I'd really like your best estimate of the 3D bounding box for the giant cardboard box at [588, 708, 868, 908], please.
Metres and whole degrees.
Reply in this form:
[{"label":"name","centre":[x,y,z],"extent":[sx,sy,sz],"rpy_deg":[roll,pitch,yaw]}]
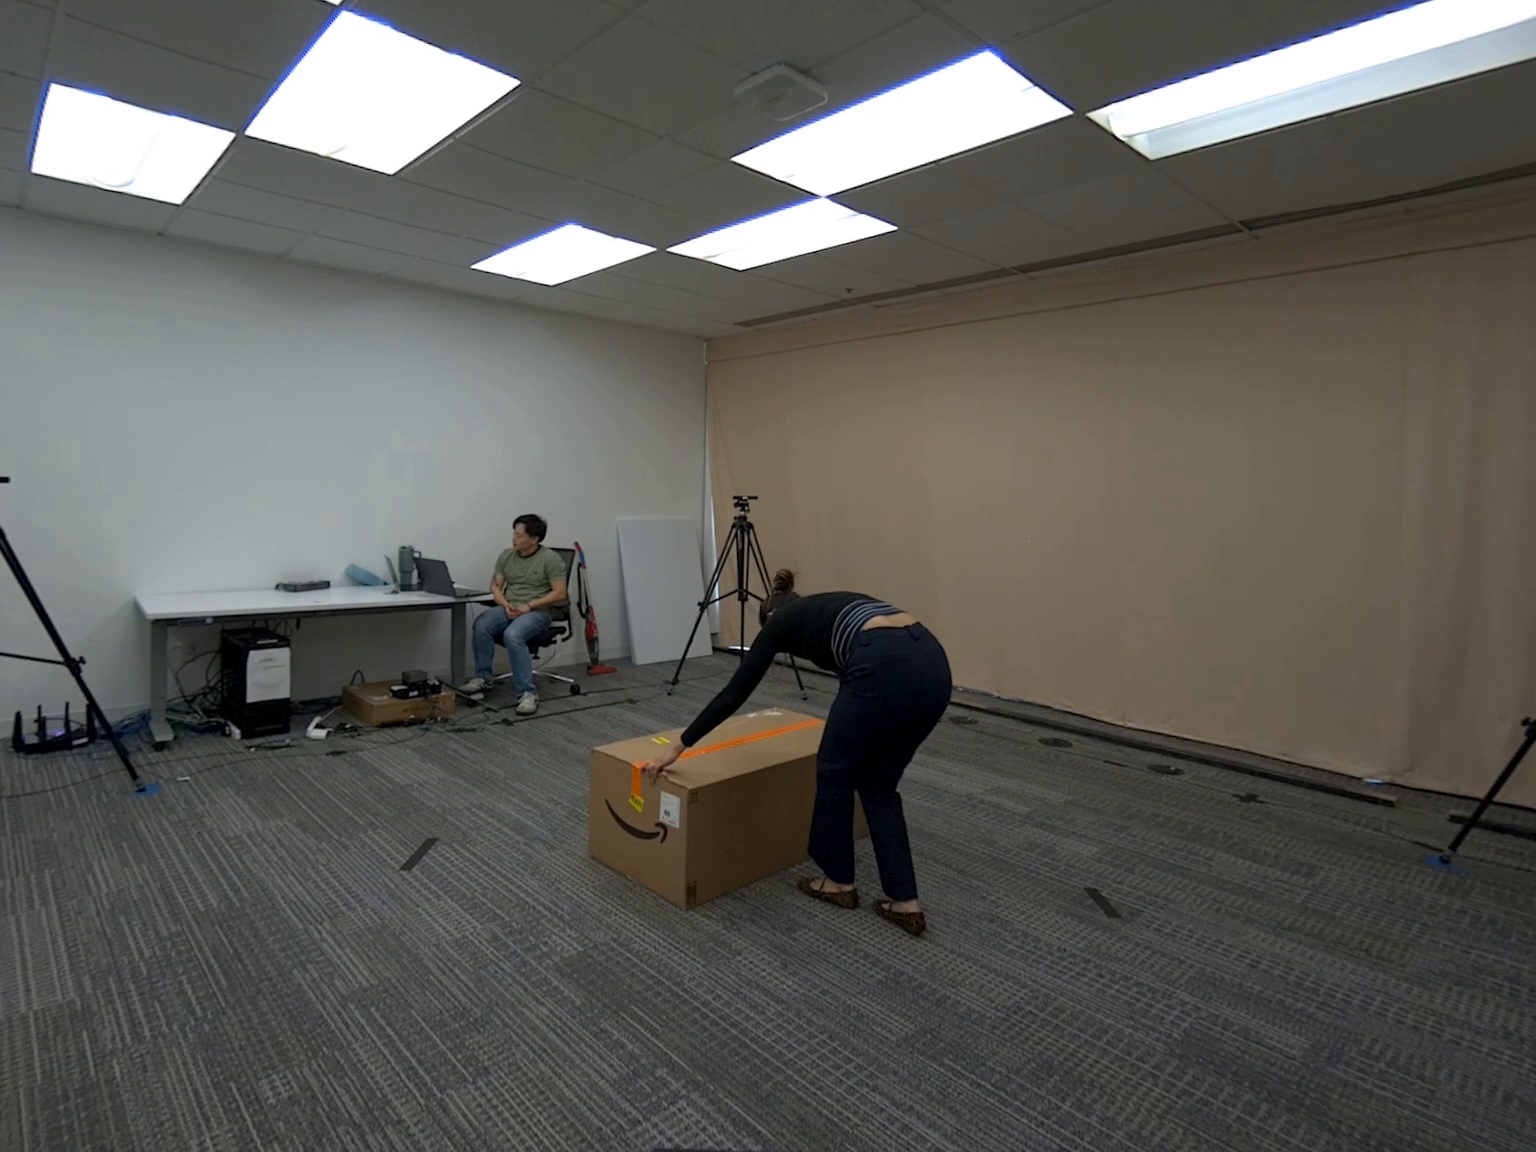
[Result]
[{"label":"giant cardboard box","centre":[-0.126,0.866,3.367],"extent":[1.002,0.425,0.592],"rpy_deg":[-3,6,-44]}]
